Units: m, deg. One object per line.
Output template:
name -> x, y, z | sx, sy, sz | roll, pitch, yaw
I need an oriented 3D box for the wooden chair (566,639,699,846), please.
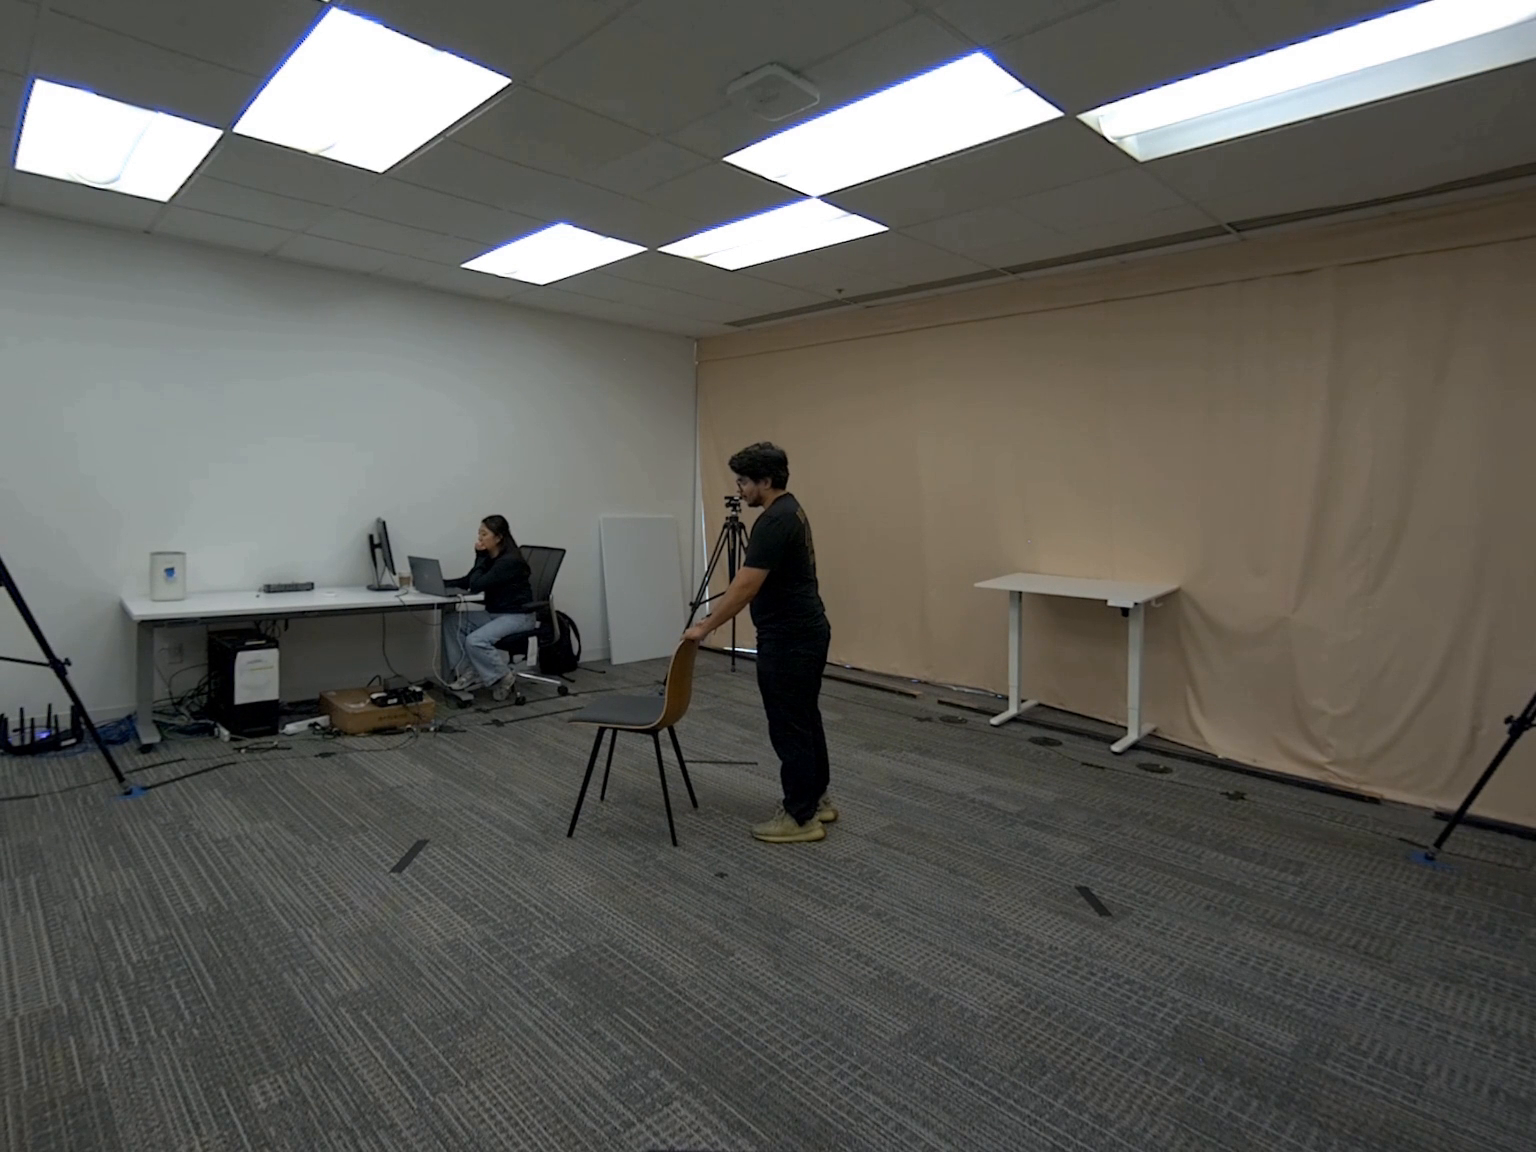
wooden chair -> -0.565, 0.622, 3.558 | 0.526, 0.875, 0.476 | 6, 4, 7
